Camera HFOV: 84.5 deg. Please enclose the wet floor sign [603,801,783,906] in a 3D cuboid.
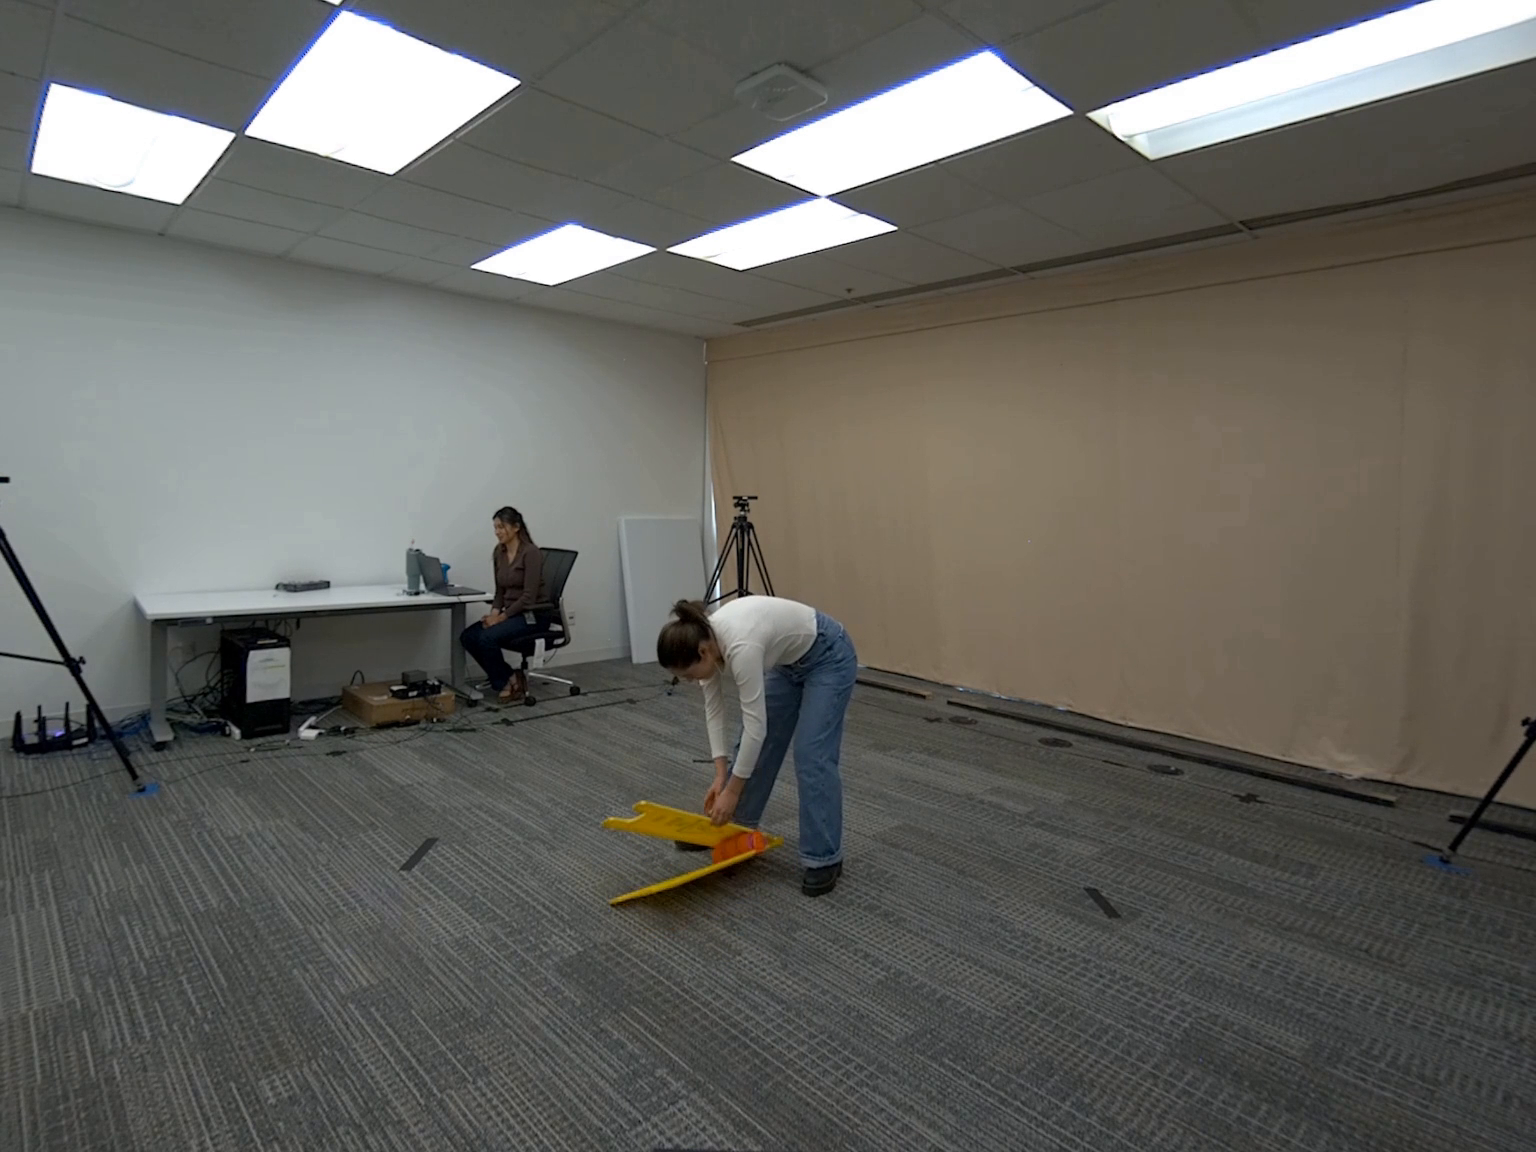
[{"bbox_3d":[-0.246,0.991,3.017,0.628,0.296,0.284,12,-33,-39],"label":"wet floor sign"}]
